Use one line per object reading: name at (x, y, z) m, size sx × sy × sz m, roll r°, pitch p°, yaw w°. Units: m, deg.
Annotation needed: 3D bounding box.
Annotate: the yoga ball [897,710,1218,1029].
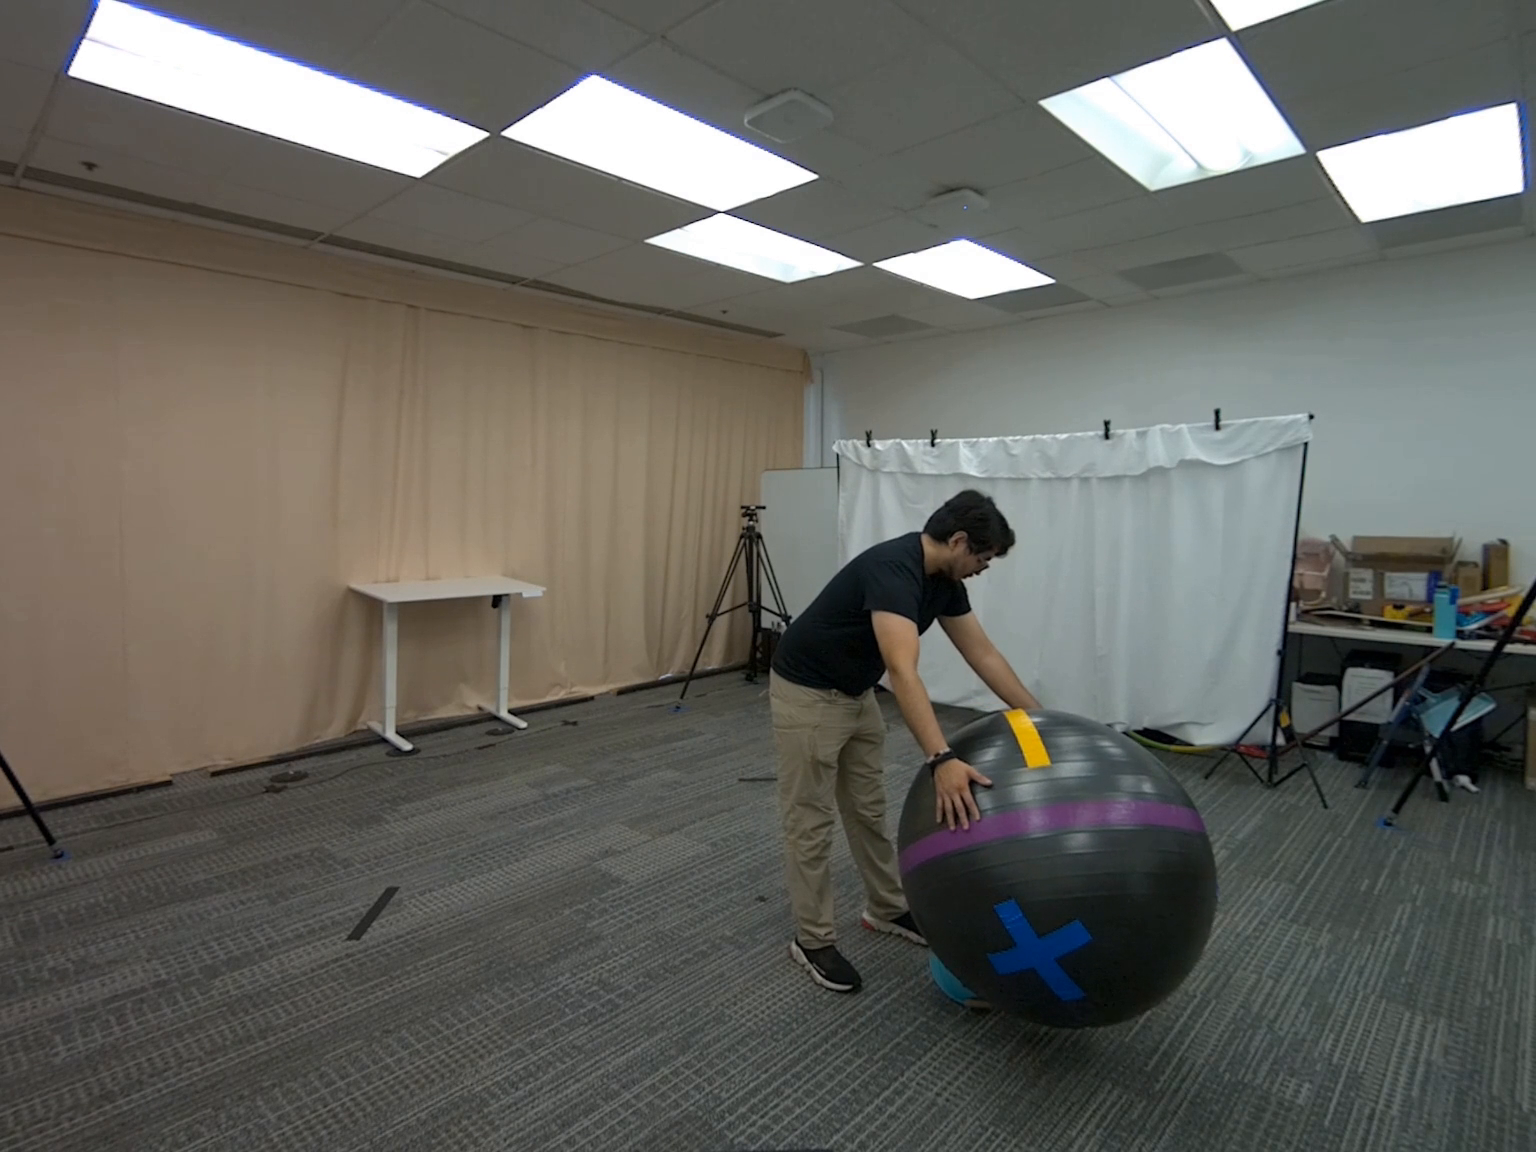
yoga ball at (0.736, 0.740, 2.159) m, size 0.757 × 0.756 × 0.760 m, roll 0°, pitch 4°, yaw -2°
